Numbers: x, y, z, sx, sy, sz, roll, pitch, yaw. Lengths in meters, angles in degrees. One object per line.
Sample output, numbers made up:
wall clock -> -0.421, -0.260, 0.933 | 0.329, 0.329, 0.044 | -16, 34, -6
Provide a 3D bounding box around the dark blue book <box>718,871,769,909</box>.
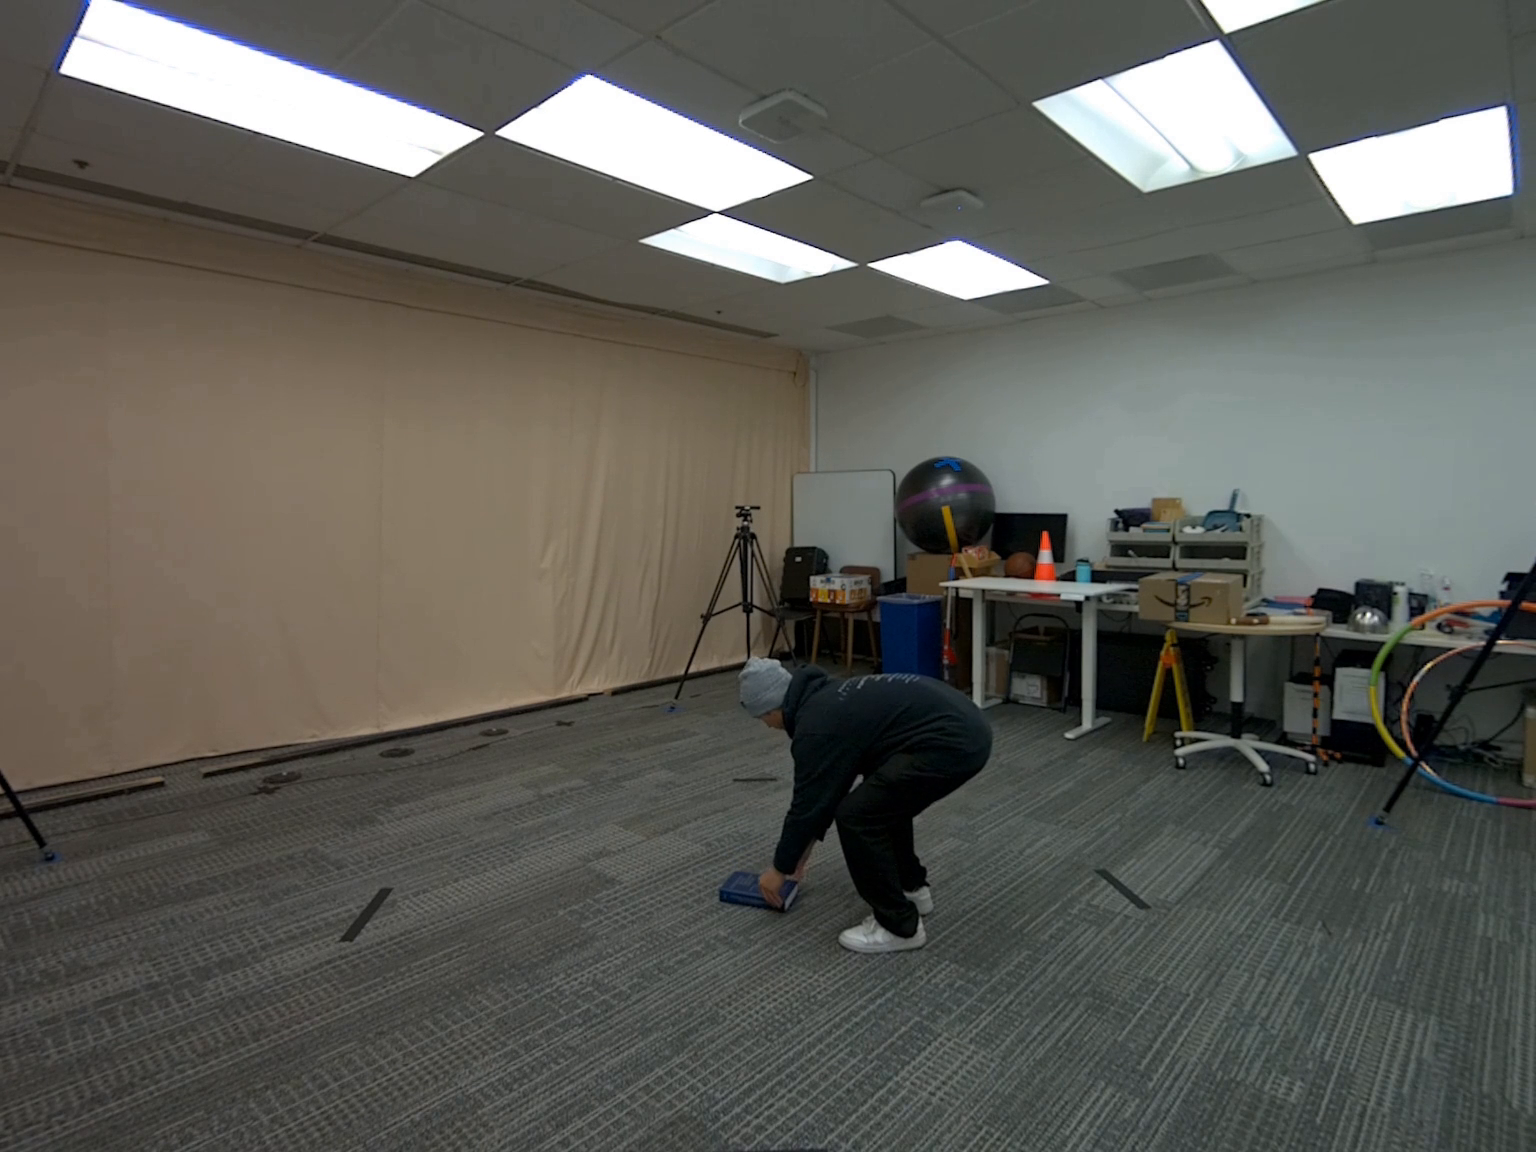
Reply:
dark blue book -> -0.030, 1.121, 2.997 | 0.250, 0.045, 0.160 | 2, 6, 21
